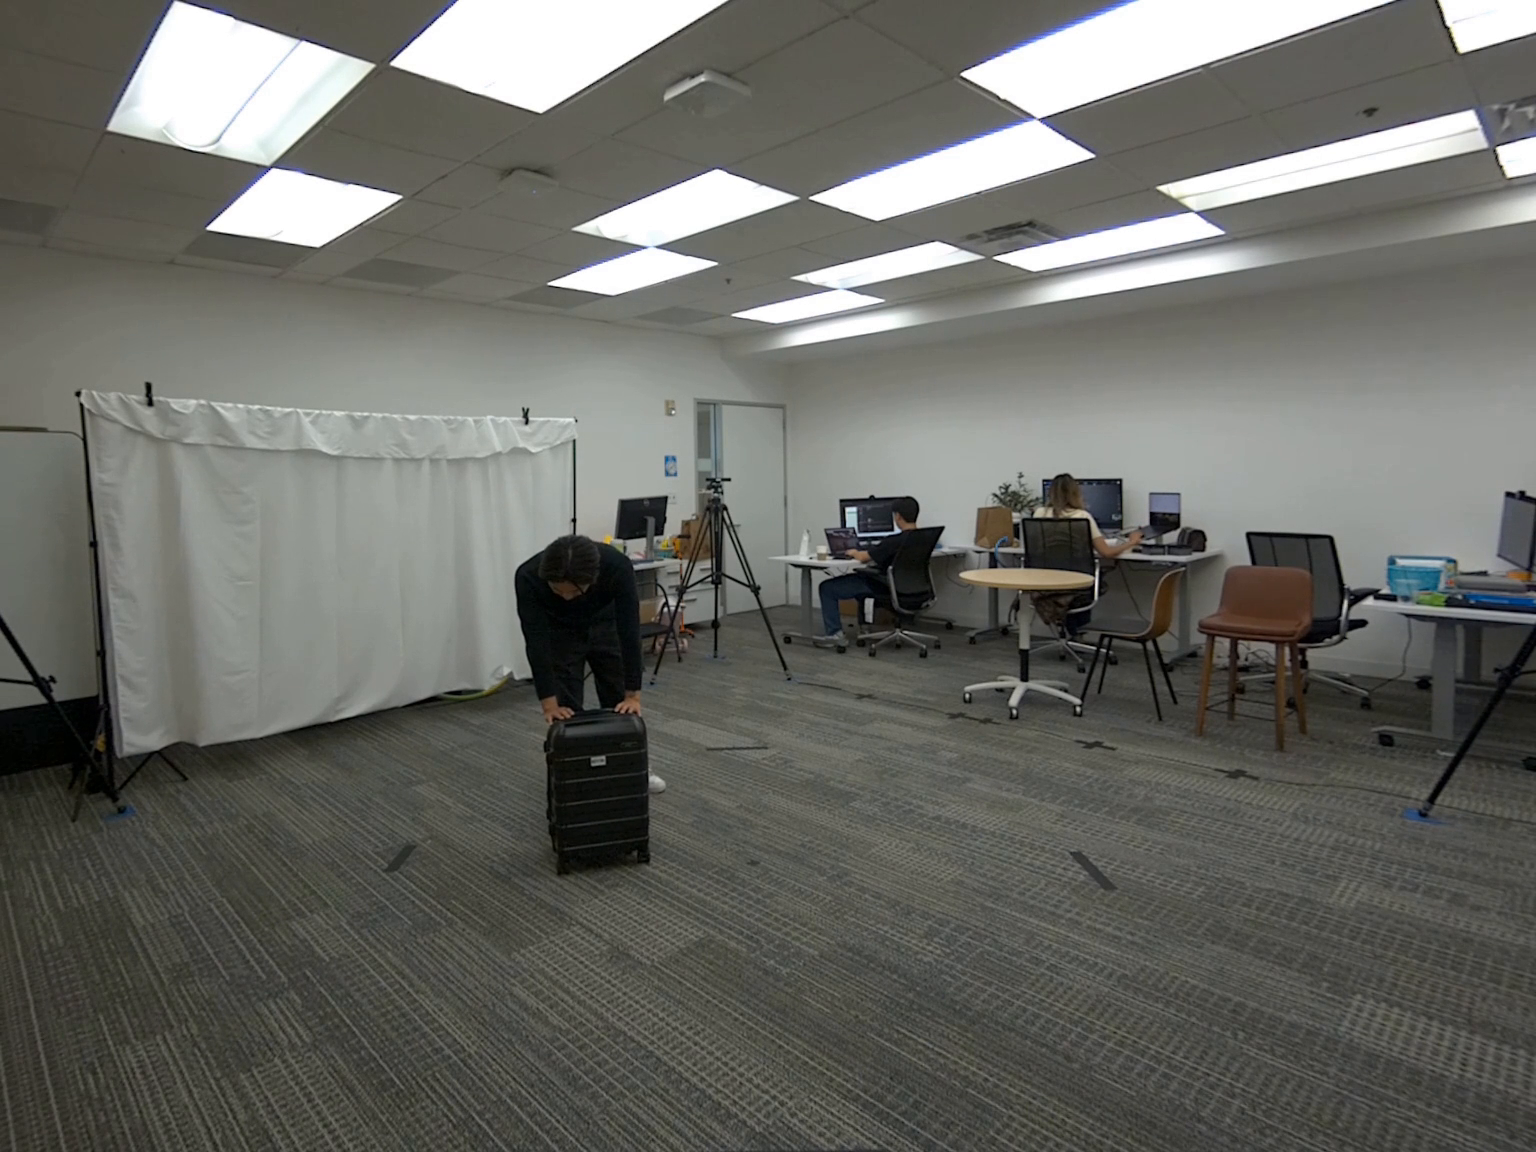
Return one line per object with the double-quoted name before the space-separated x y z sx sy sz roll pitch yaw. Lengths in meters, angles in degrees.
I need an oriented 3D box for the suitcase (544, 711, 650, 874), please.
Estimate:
"suitcase" -0.620 0.778 3.148 0.370 0.546 0.253 -2 7 -17
